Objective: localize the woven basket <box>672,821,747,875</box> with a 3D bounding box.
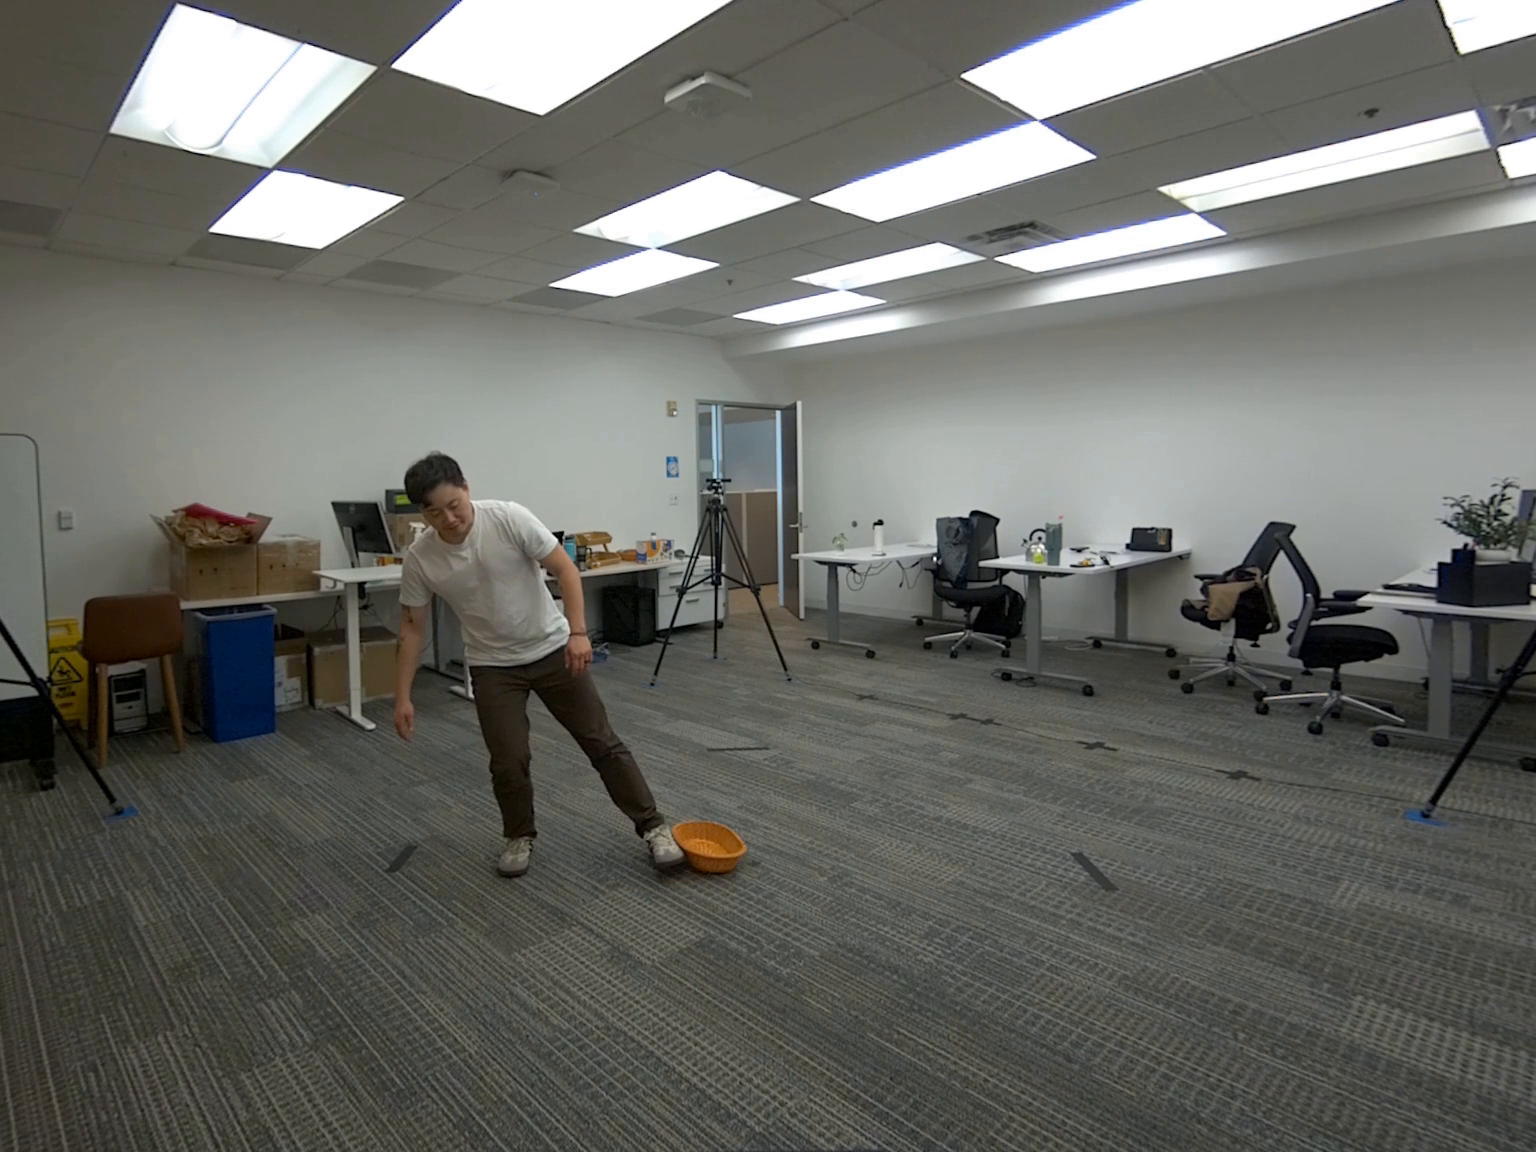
[{"bbox_3d":[-0.221,0.989,3.139,0.247,0.073,0.358,5,3,-21],"label":"woven basket"}]
